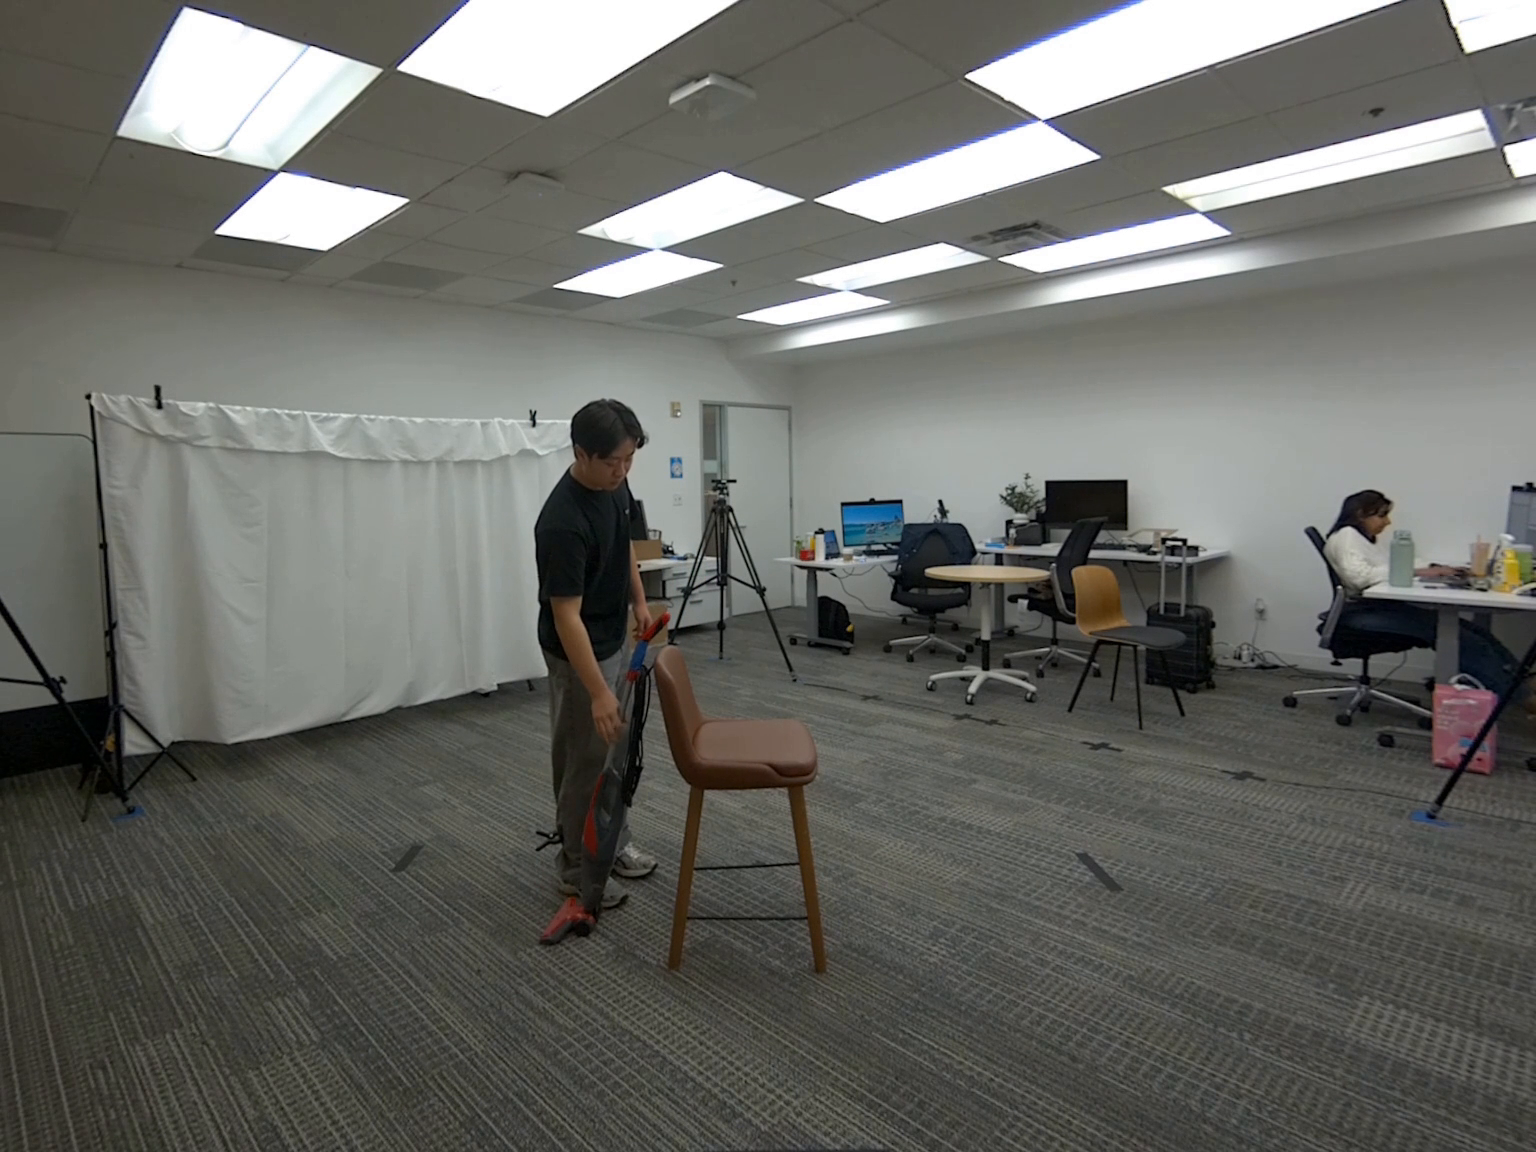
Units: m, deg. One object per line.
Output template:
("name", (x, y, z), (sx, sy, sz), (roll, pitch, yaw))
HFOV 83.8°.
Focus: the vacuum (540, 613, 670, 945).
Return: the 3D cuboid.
("vacuum", (-0.456, 0.612, 2.622), (0.144, 1.043, 0.254), (17, 9, -2))
